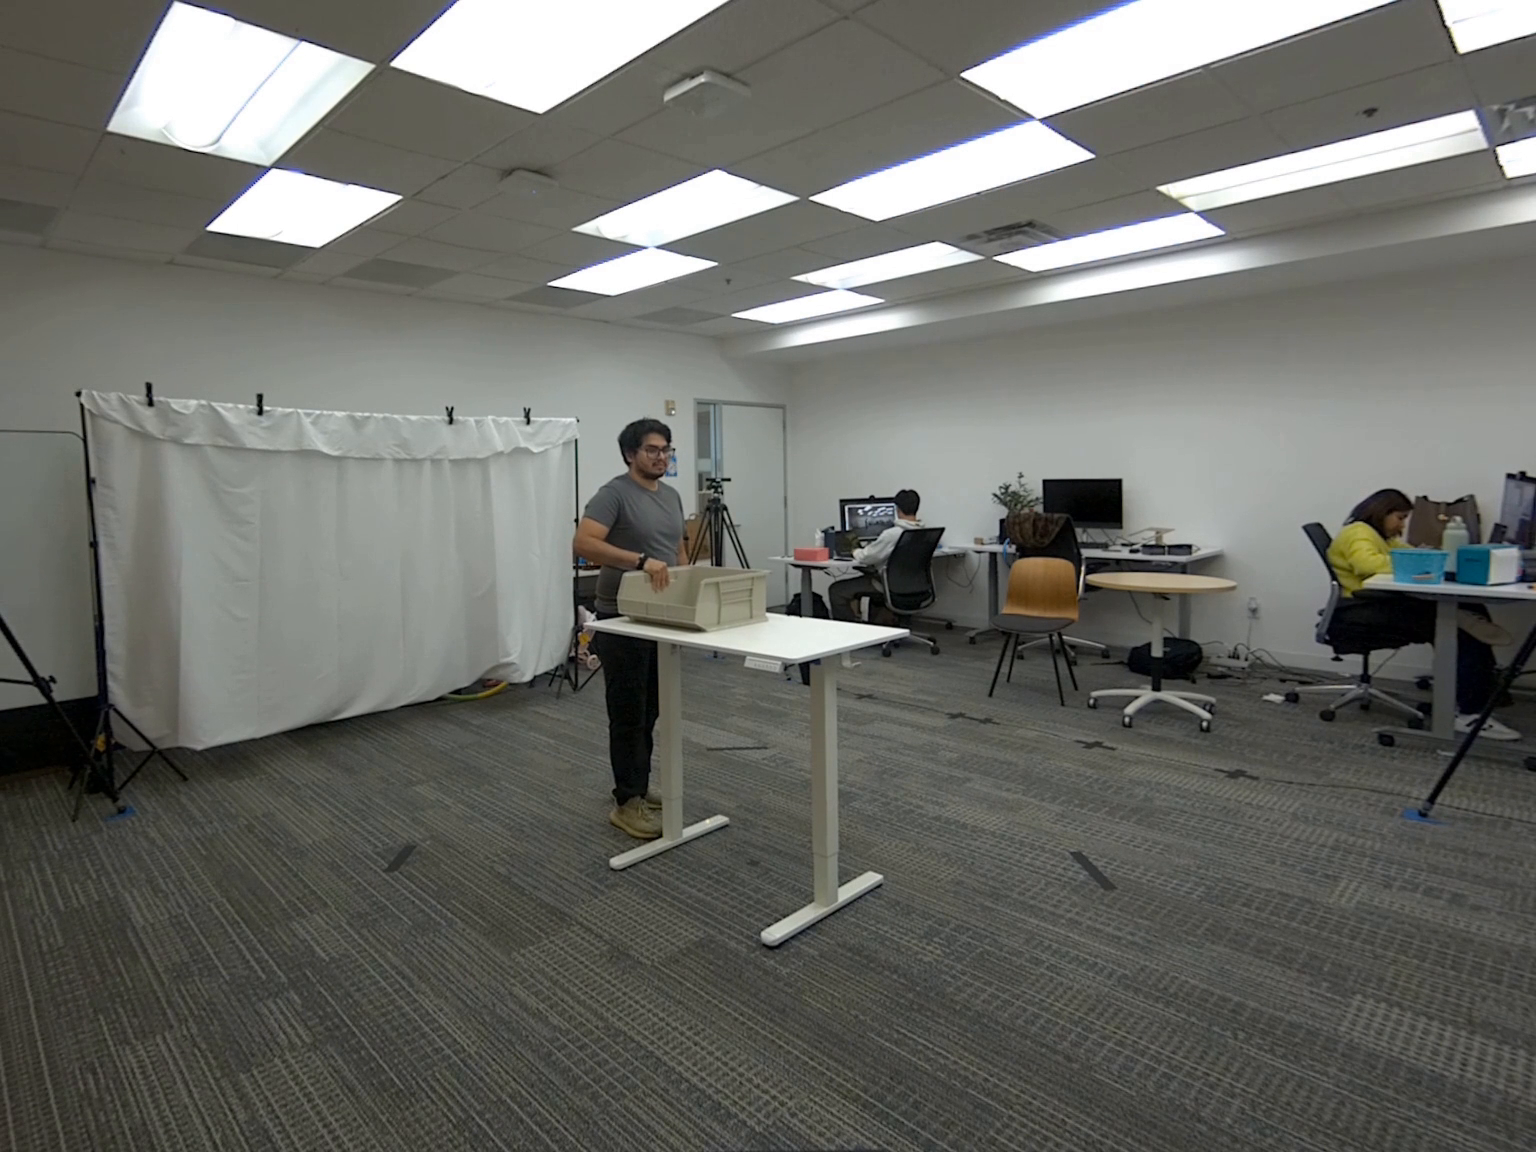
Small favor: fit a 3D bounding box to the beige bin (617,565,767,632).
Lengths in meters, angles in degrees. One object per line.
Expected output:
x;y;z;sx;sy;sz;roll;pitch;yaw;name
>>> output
-0.271;0.077;3.090;0.435;0.188;0.367;4;5;43;beige bin
